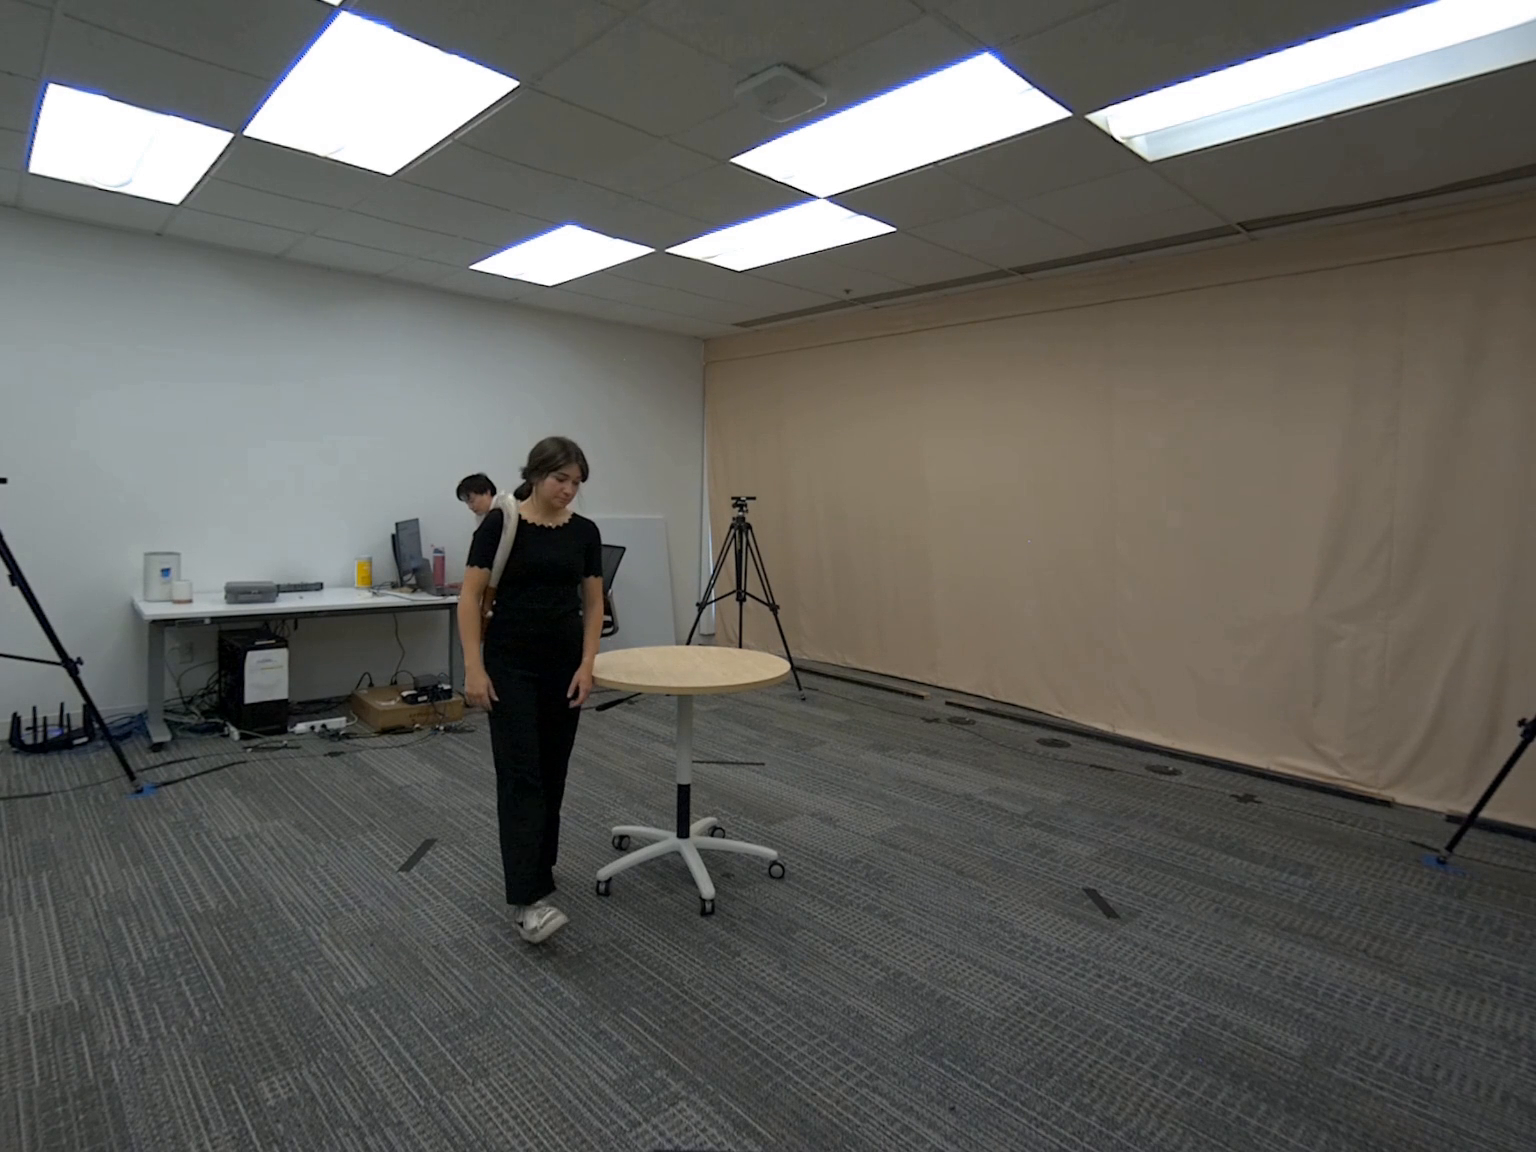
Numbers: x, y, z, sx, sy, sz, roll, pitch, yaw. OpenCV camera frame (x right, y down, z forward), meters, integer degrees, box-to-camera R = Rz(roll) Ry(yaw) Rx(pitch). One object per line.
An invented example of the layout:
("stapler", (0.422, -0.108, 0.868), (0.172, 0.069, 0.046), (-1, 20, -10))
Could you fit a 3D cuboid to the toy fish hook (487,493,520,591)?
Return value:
("toy fish hook", (-0.924, -0.030, 2.800), (0.047, 0.505, 0.231), (12, 4, -35))
